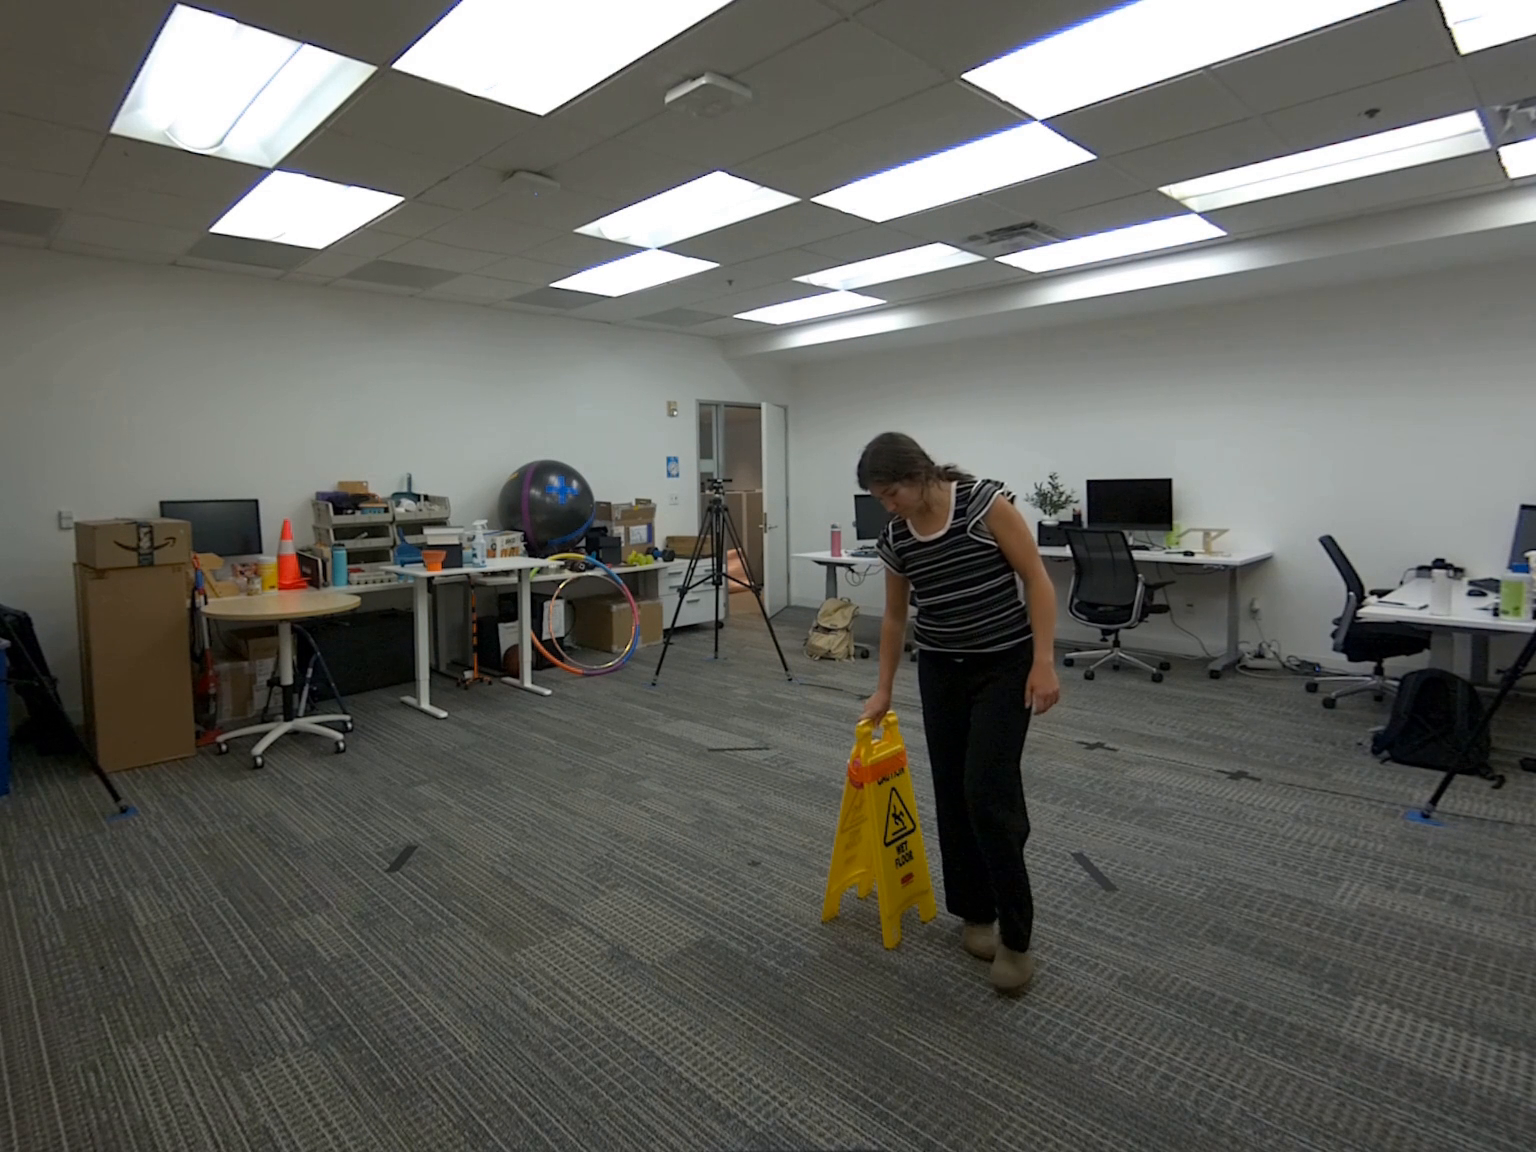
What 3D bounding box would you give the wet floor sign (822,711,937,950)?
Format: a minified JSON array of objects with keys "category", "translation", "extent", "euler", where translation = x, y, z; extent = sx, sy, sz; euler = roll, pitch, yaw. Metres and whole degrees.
[{"category":"wet floor sign","translation":[0.354,0.763,2.677],"extent":[0.298,0.643,0.275],"euler":[3,6,40]}]
